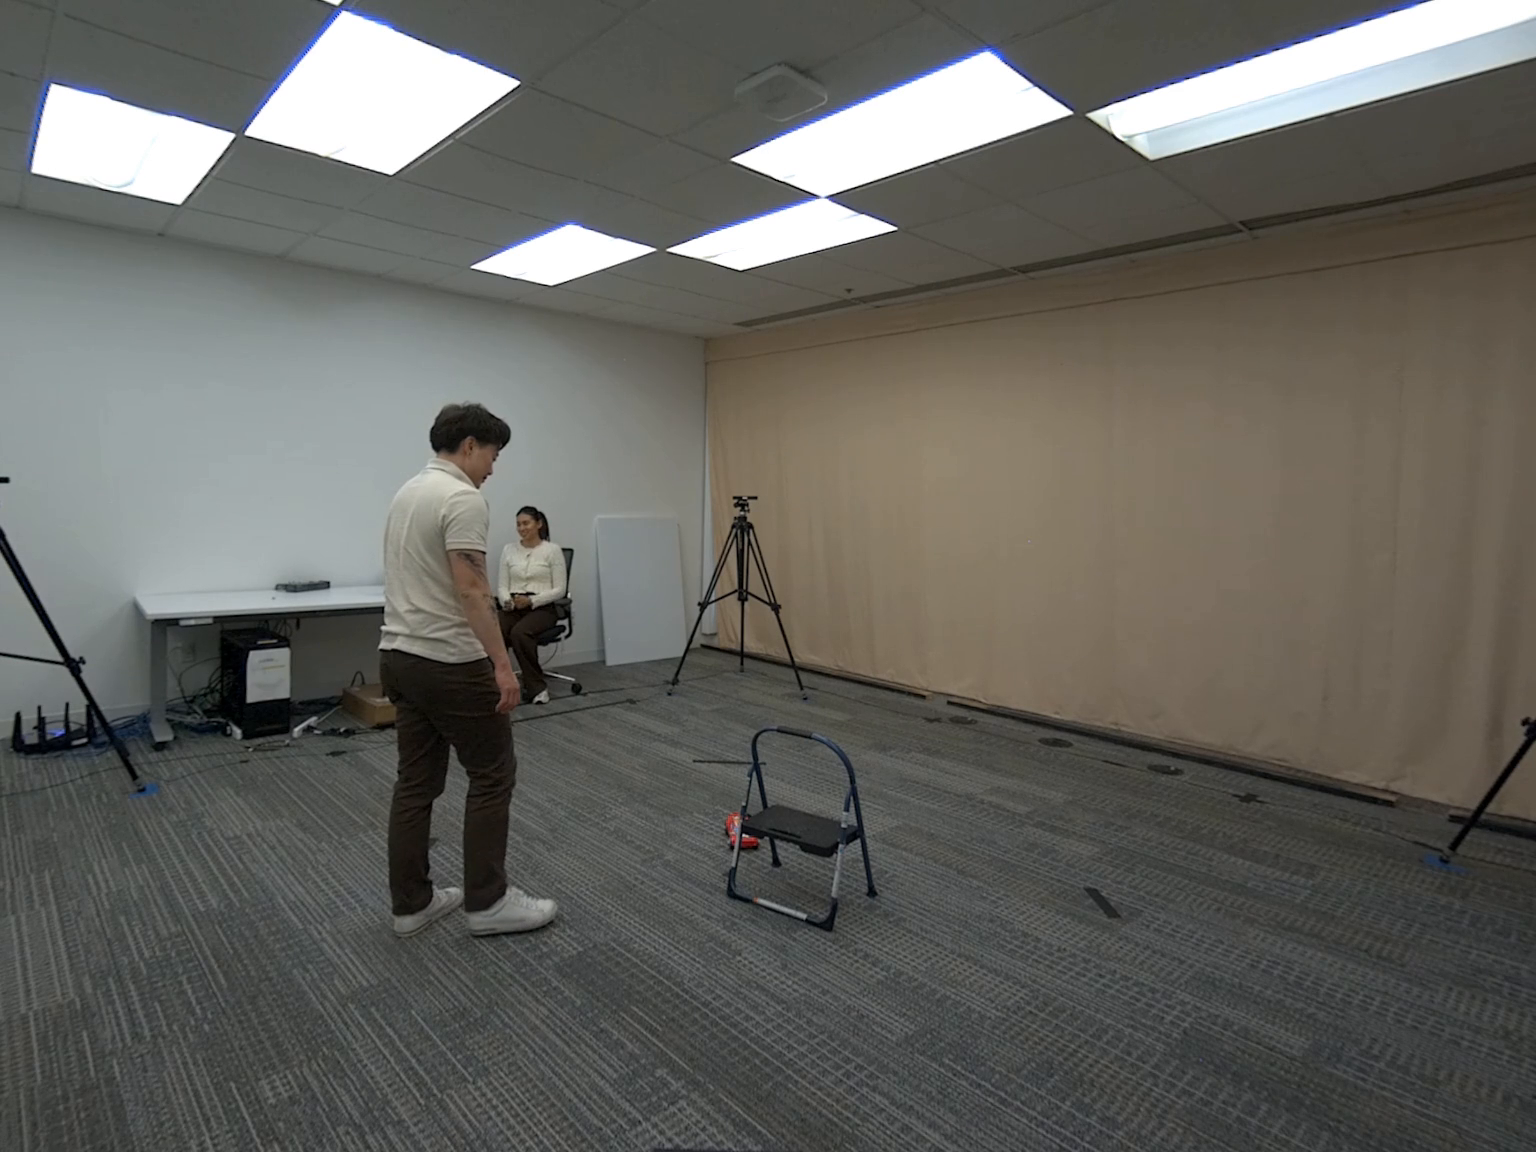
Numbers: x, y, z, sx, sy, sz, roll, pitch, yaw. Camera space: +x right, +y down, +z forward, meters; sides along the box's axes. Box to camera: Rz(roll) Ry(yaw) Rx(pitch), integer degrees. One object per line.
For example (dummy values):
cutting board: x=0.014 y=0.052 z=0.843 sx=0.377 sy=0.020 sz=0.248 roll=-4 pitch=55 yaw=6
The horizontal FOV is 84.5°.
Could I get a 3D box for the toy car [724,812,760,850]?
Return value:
toy car: x=-0.121 y=1.042 z=3.439 sx=0.129 sy=0.082 sz=0.259 roll=0 pitch=17 yaw=-9
